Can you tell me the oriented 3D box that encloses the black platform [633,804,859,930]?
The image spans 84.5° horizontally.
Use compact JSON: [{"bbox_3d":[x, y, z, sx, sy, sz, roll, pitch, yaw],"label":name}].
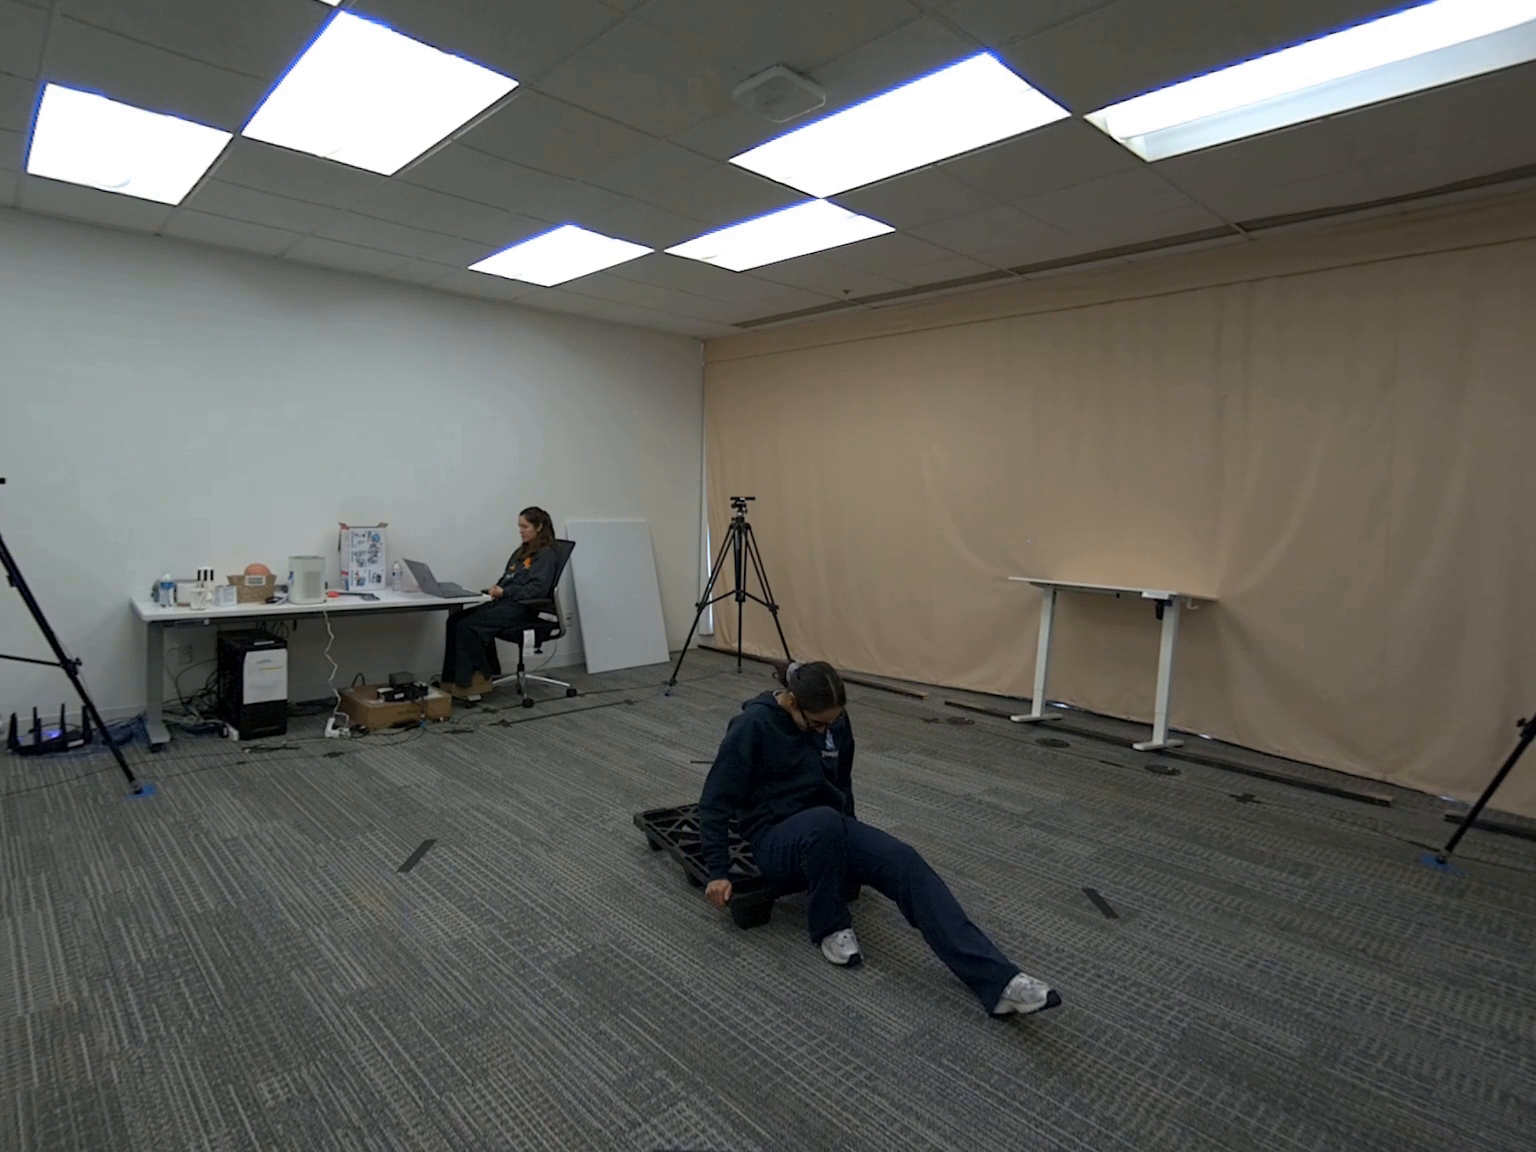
[{"bbox_3d":[-0.086,1.040,3.149,0.593,0.143,0.825,-1,6,-31],"label":"black platform"}]
